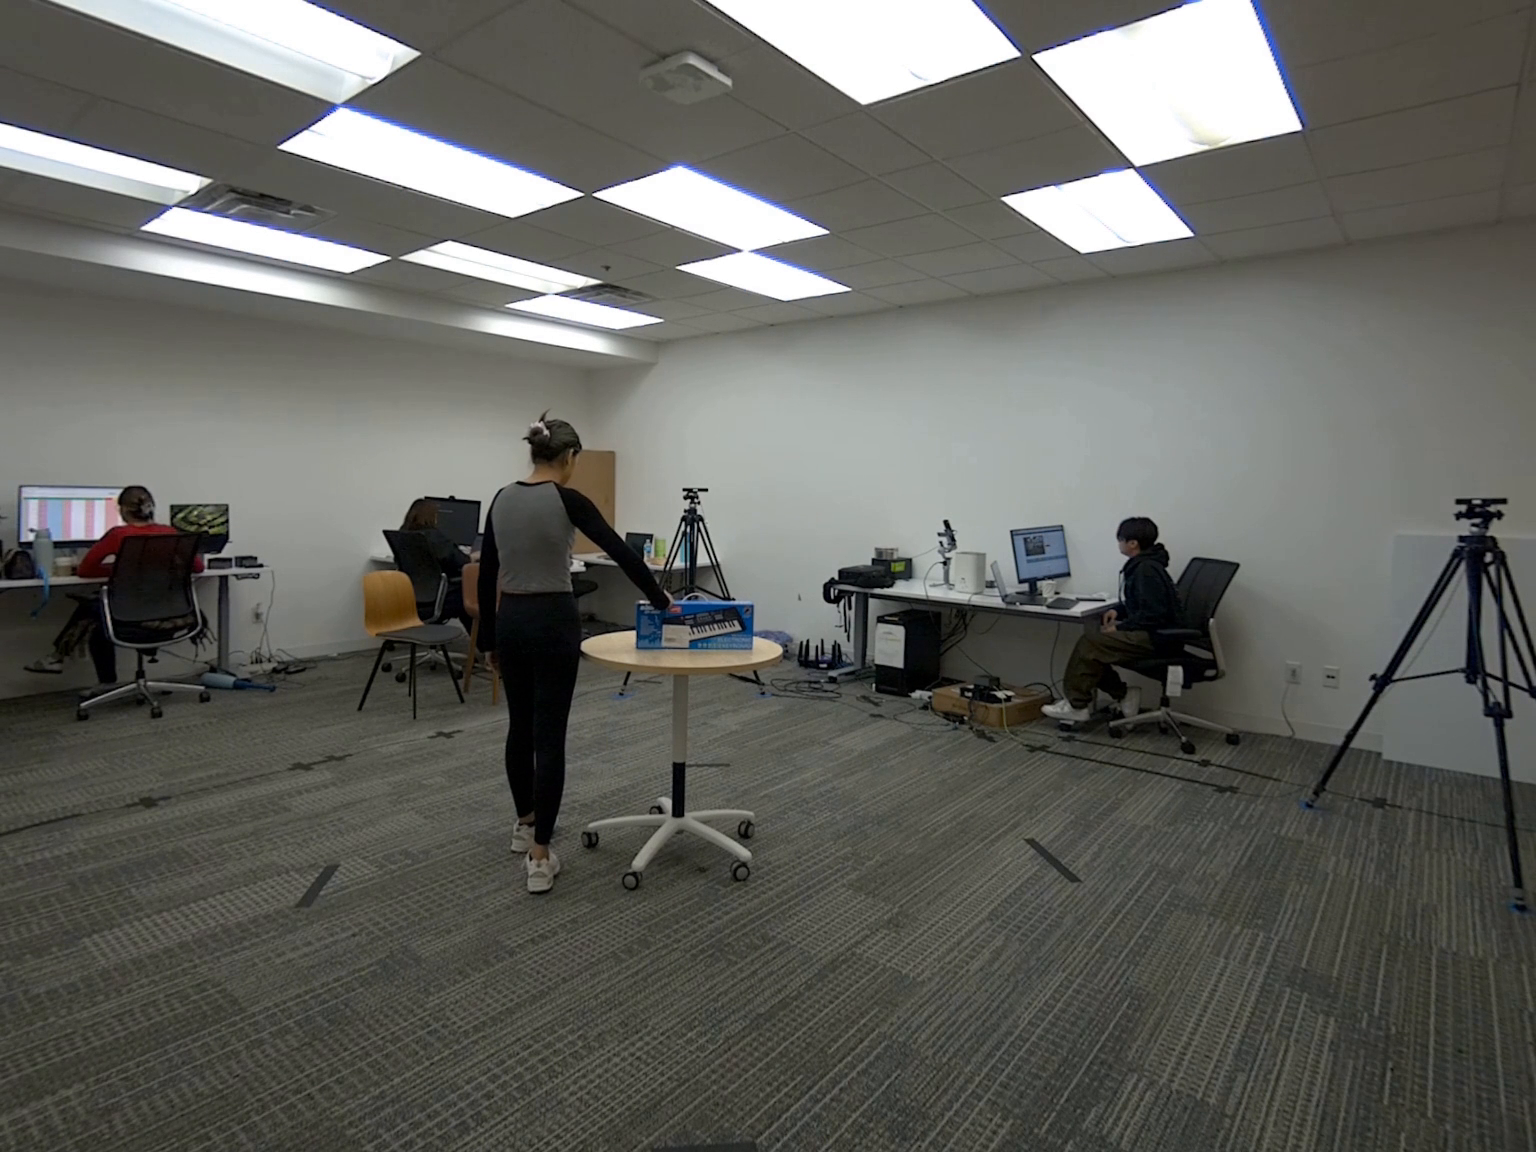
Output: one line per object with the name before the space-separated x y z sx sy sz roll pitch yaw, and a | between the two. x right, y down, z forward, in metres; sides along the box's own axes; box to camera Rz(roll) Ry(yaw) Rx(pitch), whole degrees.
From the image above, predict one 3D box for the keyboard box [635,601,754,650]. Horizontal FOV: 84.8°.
keyboard box | -0.281 0.180 3.177 0.434 0.175 0.060 2 6 -5
